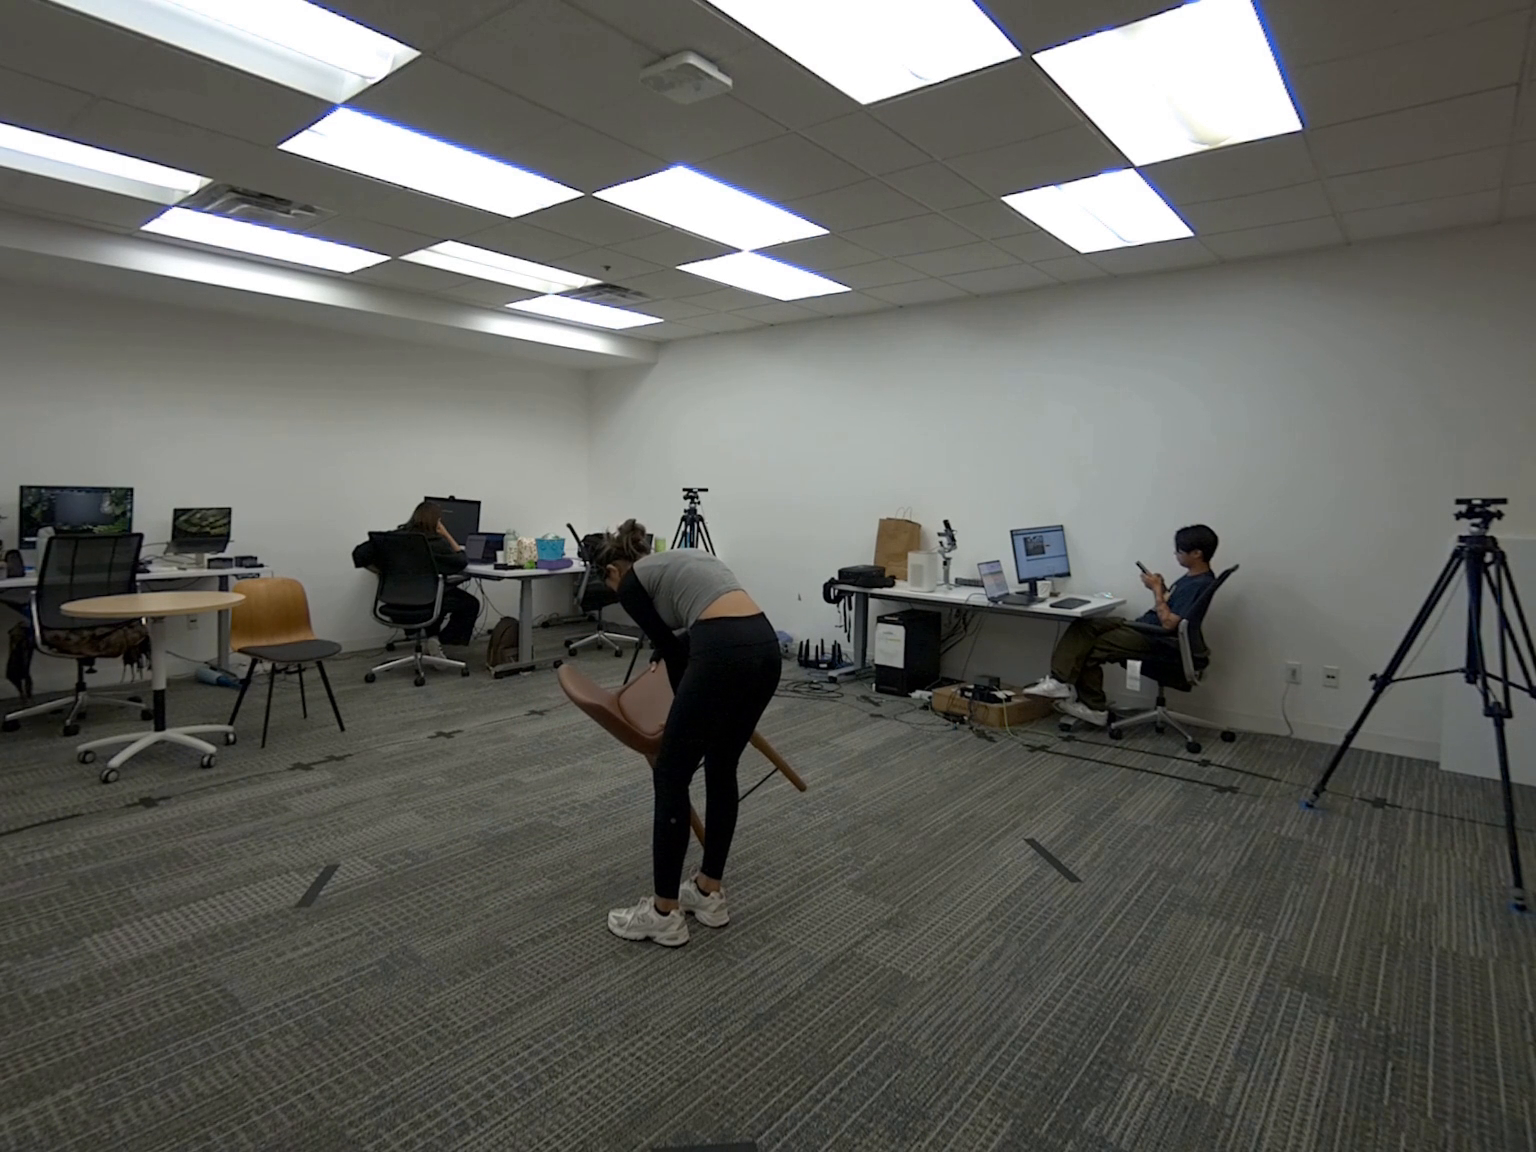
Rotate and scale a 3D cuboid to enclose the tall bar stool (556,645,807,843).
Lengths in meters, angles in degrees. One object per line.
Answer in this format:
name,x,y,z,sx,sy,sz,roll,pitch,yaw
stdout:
tall bar stool,-0.330,0.569,3.176,0.466,0.862,0.472,-39,26,-12
